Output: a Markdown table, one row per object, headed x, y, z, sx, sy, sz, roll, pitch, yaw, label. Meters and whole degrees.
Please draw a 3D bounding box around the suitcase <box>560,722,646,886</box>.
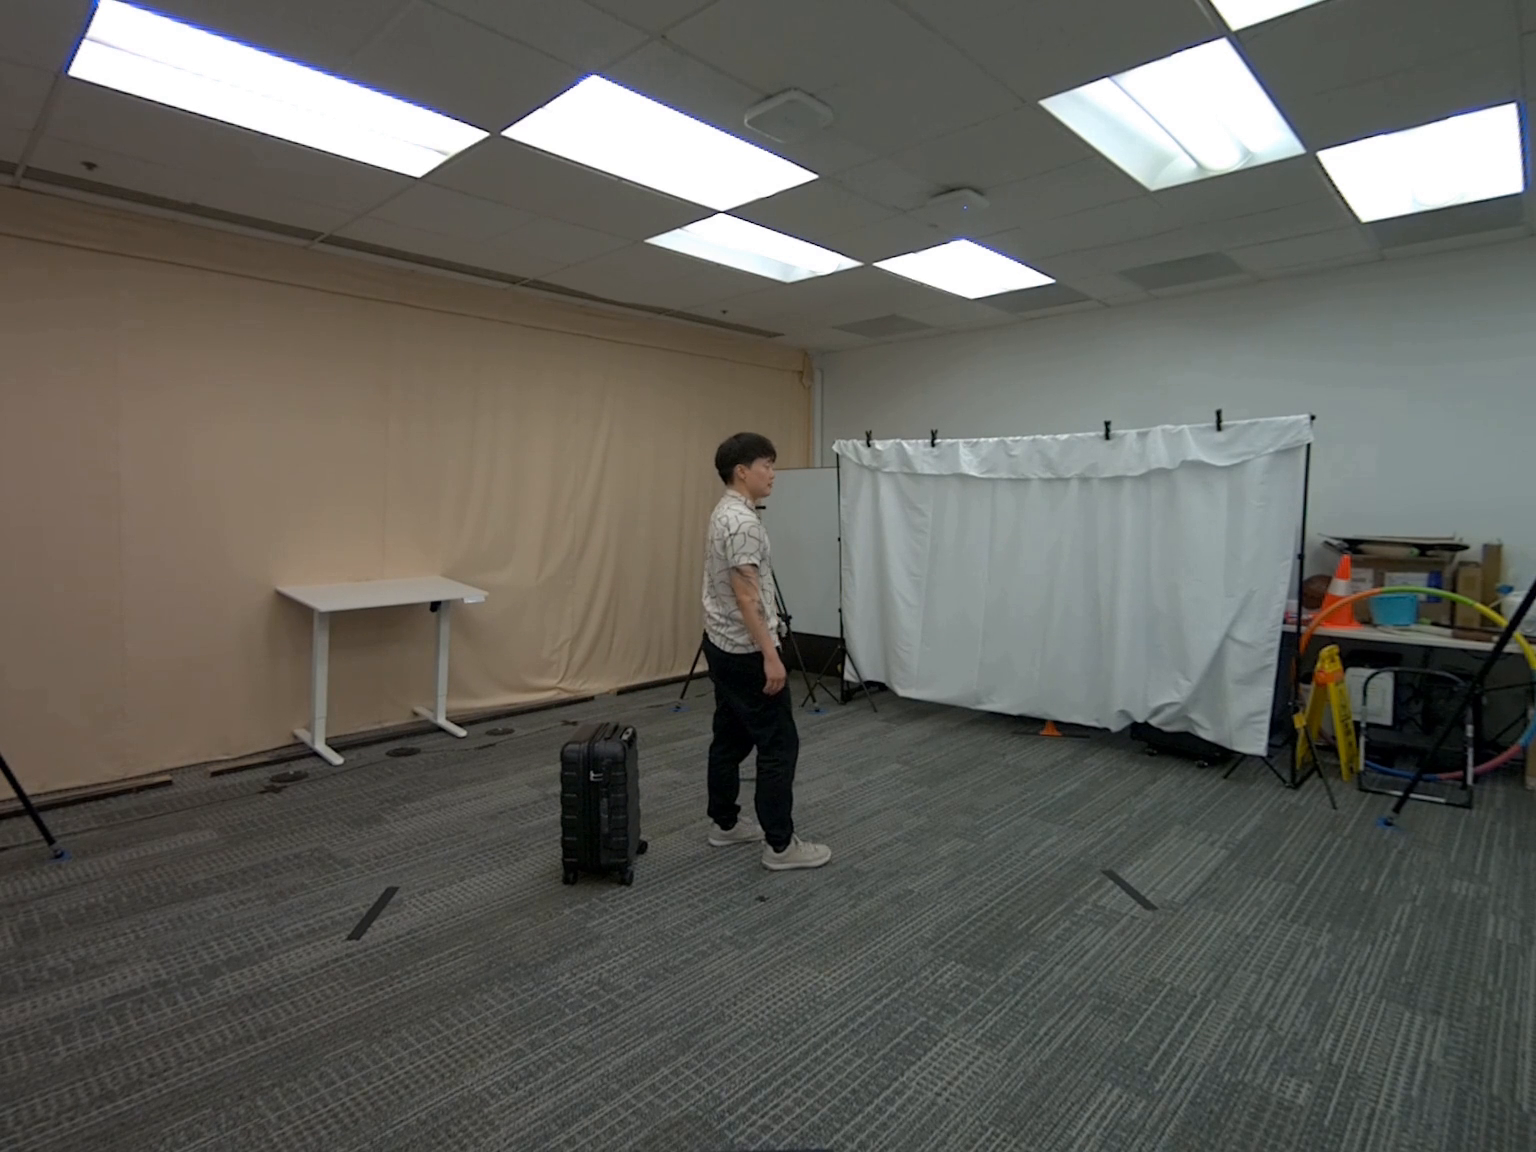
| x | y | z | sx | sy | sz | roll | pitch | yaw | label |
| --- | --- | --- | --- | --- | --- | --- | --- | --- | --- |
| -0.639 | 0.857 | 3.220 | 0.249 | 0.548 | 0.376 | -1 | 4 | 1 | suitcase |
